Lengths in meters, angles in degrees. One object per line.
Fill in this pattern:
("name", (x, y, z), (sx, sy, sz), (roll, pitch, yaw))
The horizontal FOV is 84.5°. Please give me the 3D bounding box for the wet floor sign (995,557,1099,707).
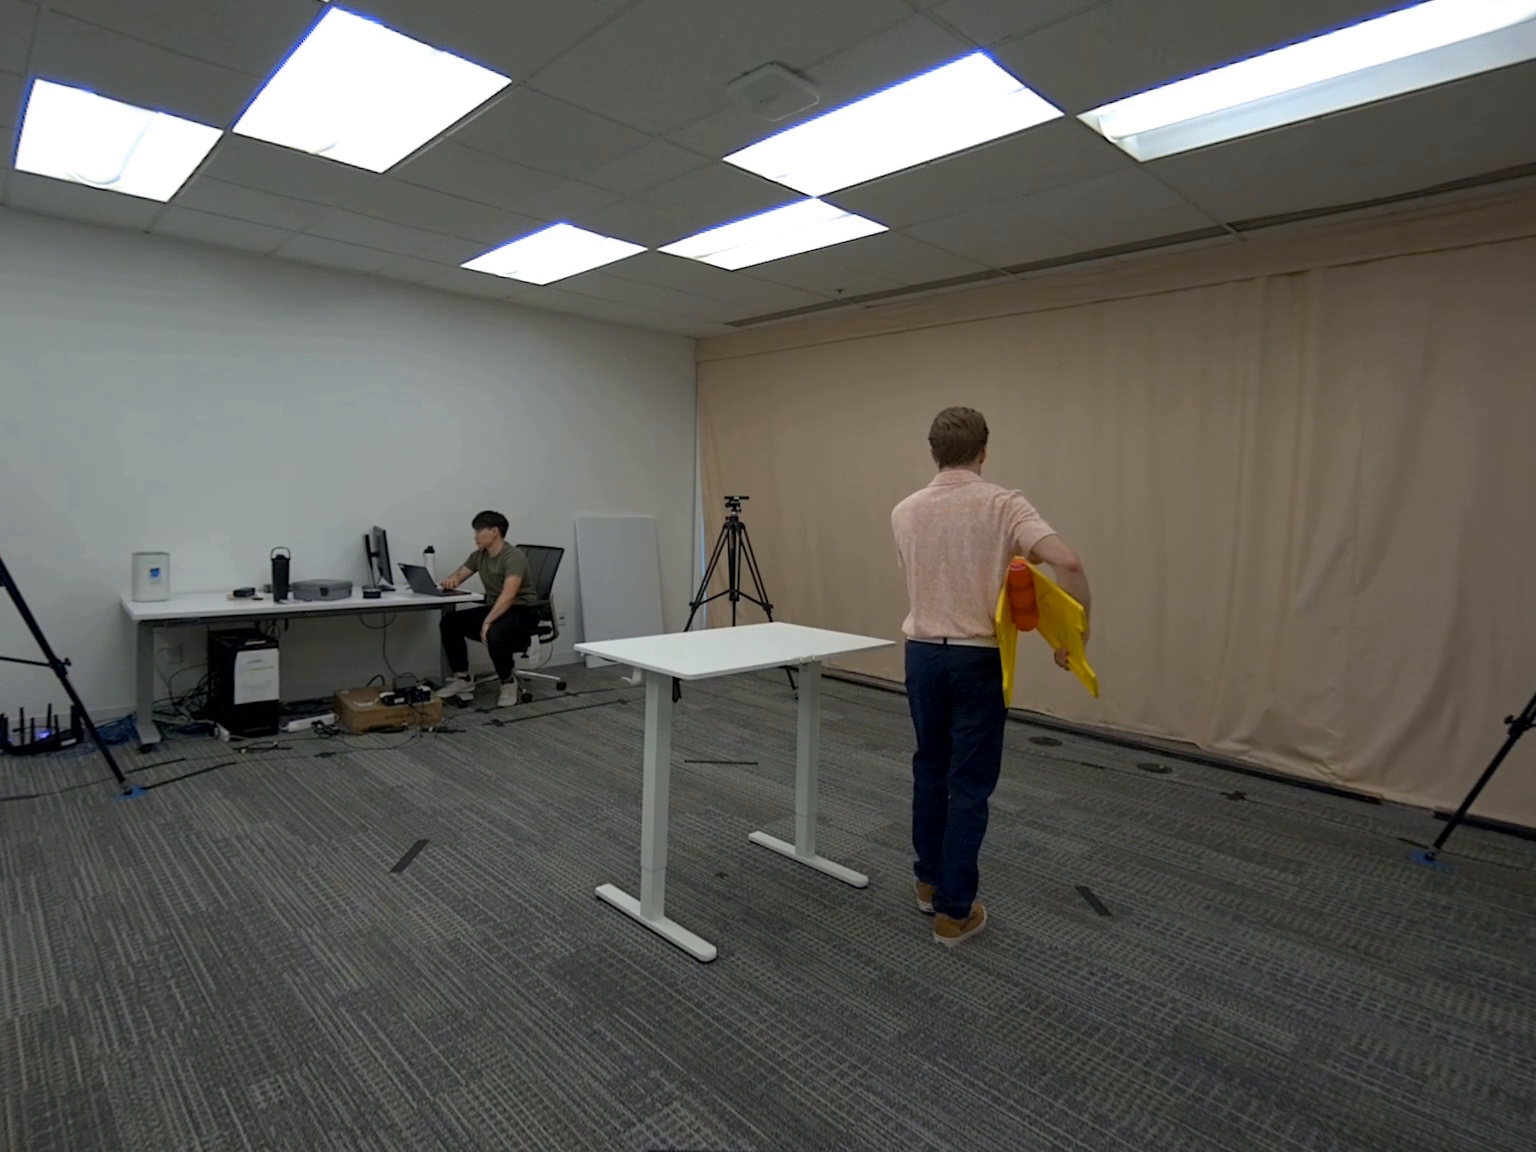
("wet floor sign", (0.815, 0.130, 2.640), (0.292, 0.278, 0.650), (-8, 19, 13))
